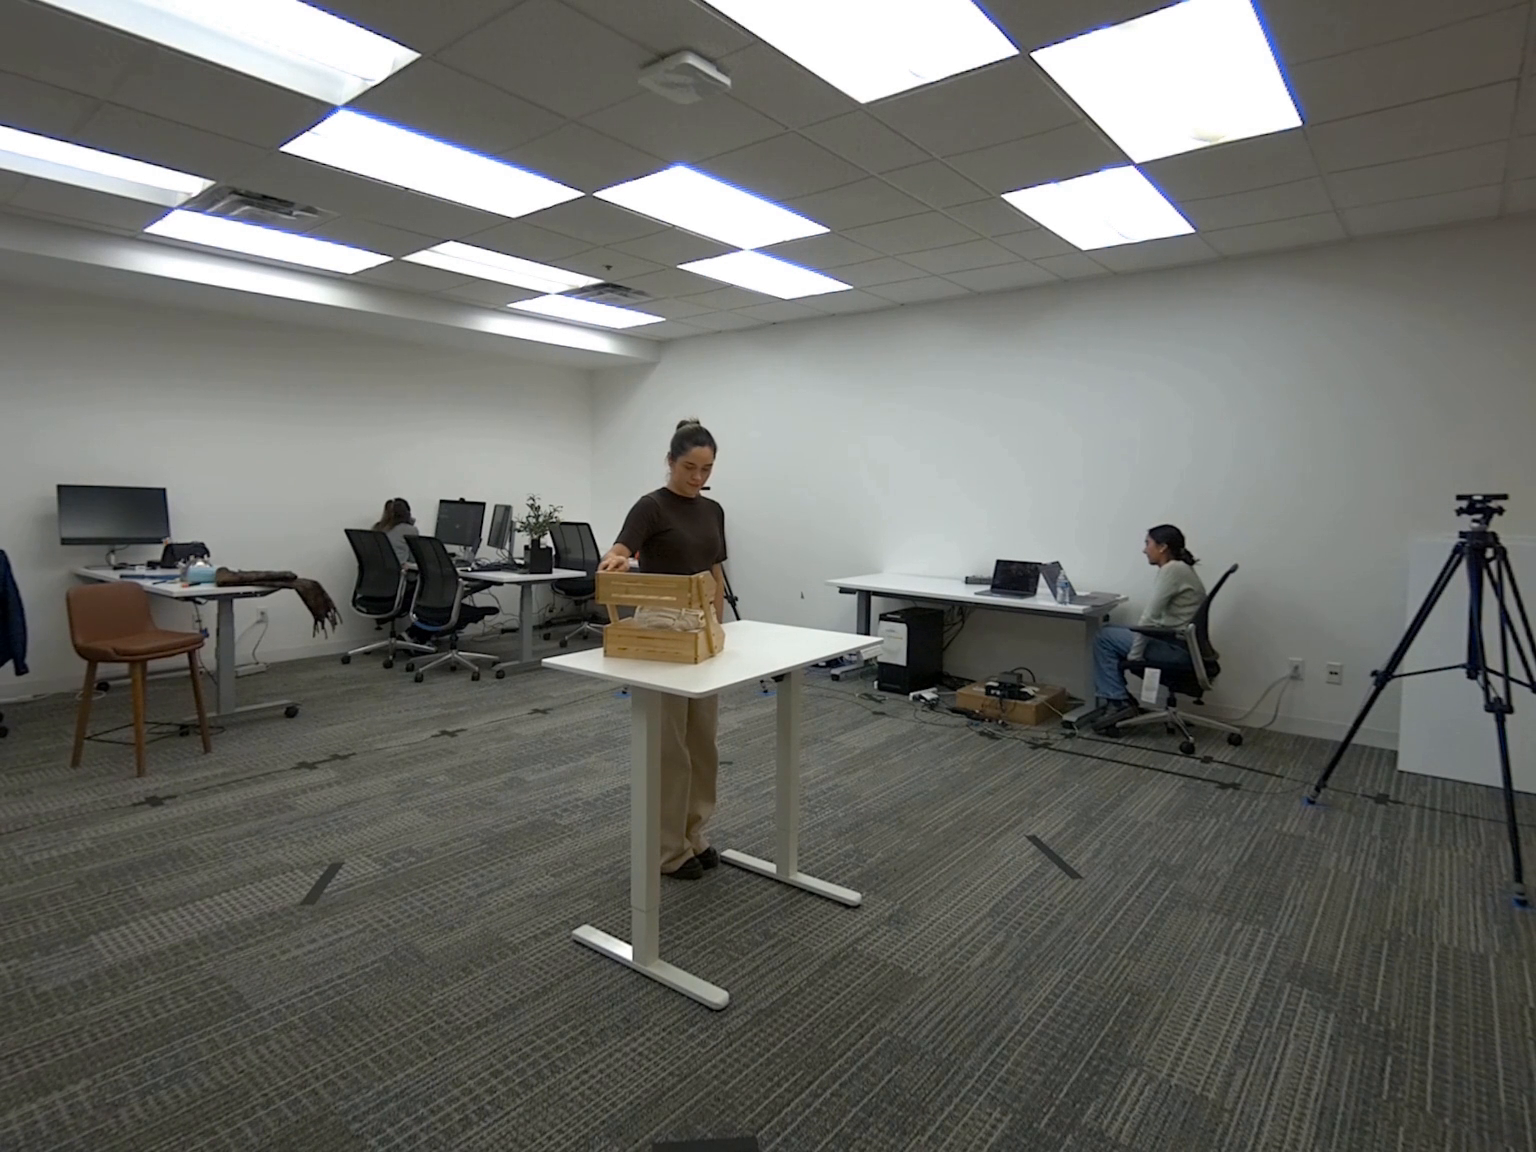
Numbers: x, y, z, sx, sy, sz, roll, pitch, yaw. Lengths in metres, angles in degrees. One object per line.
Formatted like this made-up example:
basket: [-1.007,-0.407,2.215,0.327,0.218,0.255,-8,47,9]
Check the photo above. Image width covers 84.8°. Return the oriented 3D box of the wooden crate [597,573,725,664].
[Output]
wooden crate: [-0.331,0.104,2.578,0.331,0.272,0.298,2,6,17]
